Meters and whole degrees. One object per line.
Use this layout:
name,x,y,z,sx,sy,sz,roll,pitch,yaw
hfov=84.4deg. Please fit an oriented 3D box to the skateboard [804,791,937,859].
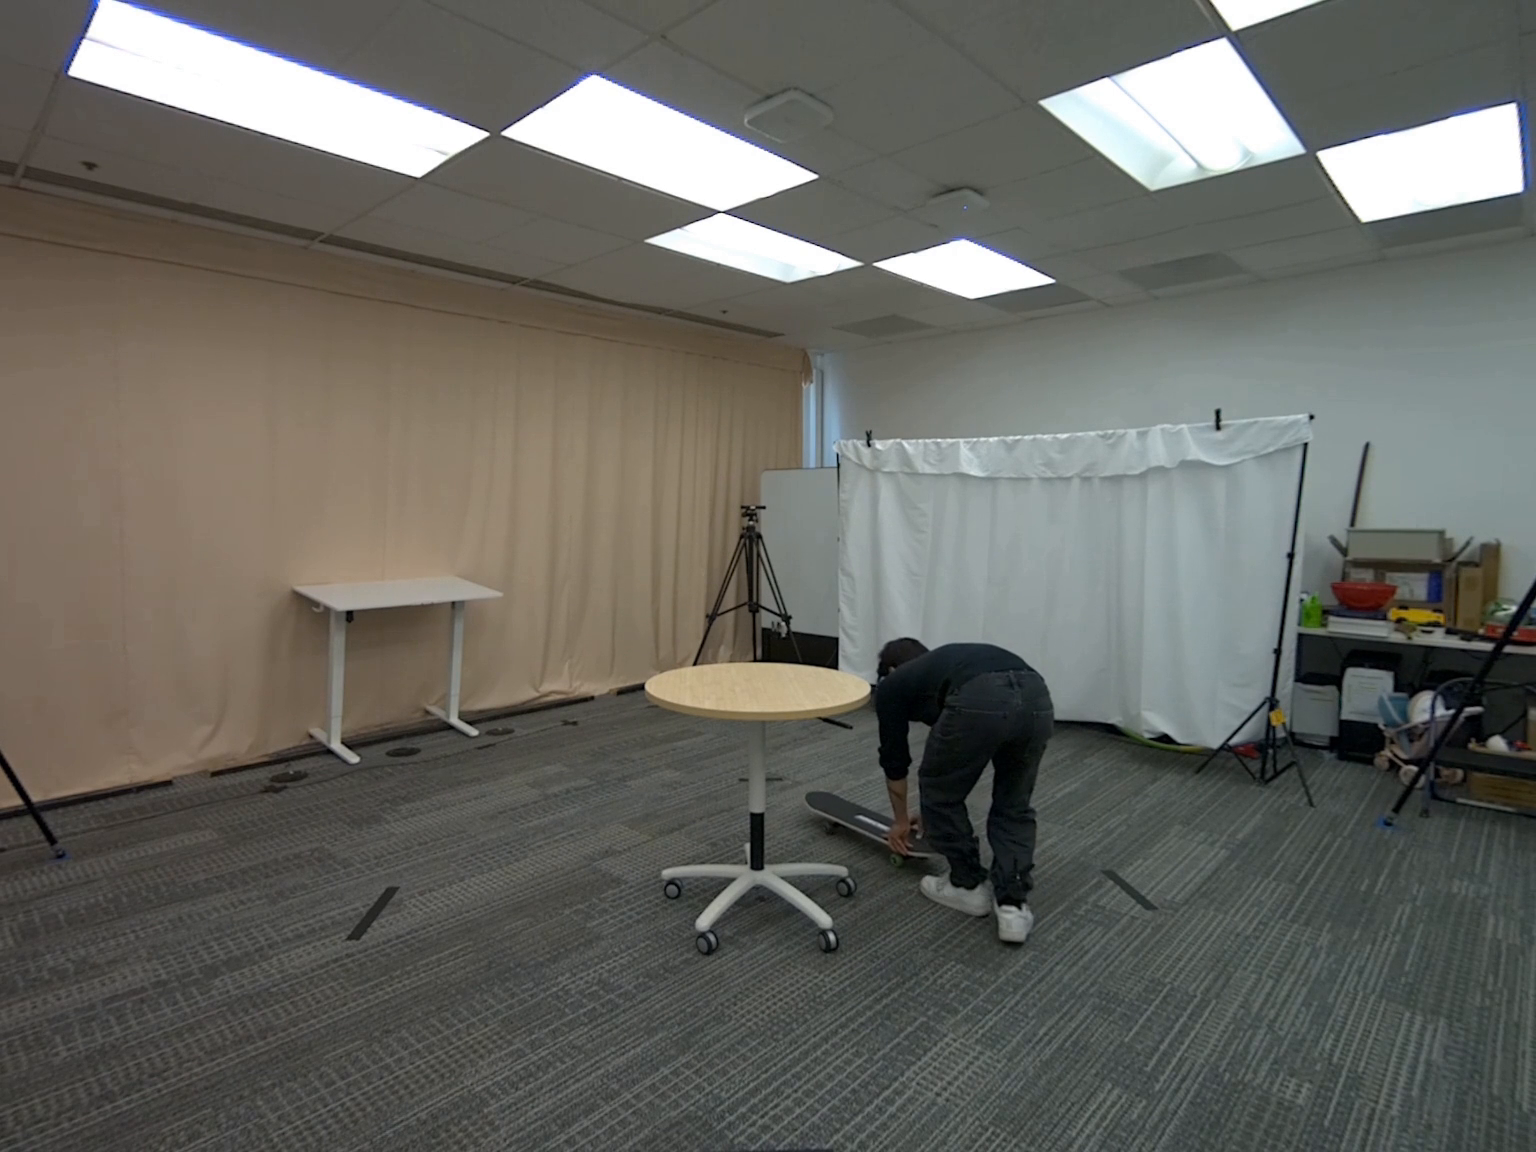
skateboard,0.440,1.045,3.455,0.188,0.110,0.810,-2,5,-35
